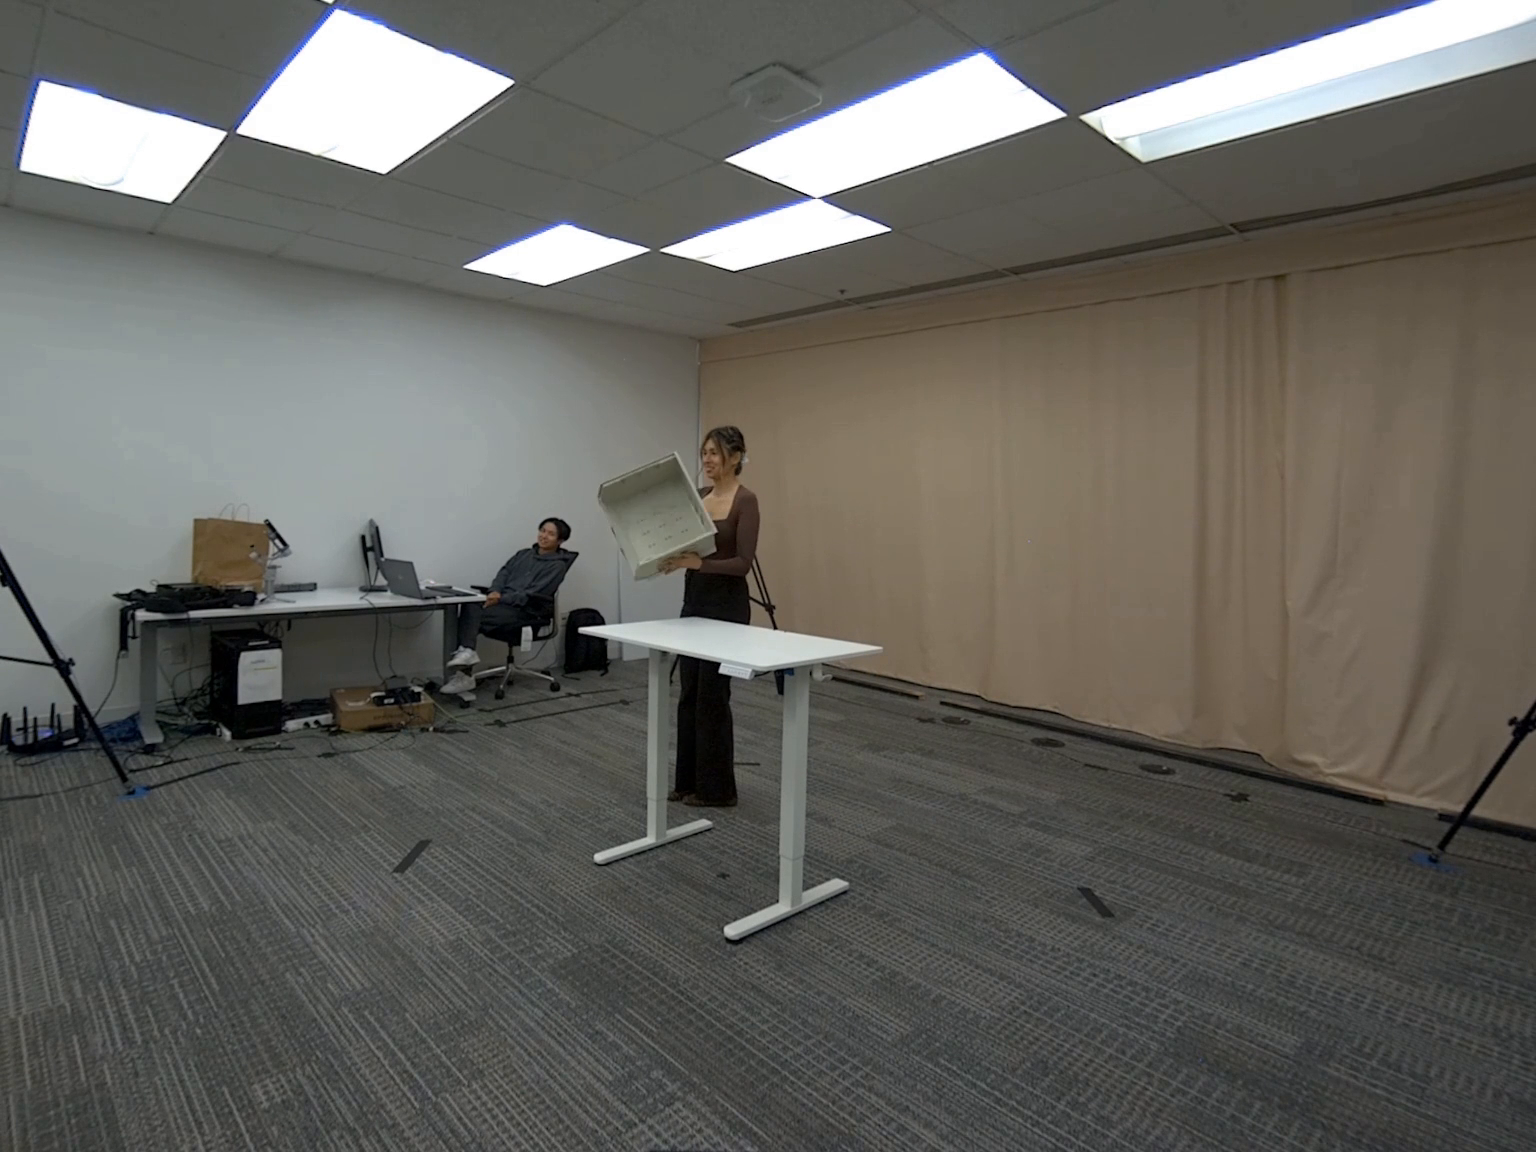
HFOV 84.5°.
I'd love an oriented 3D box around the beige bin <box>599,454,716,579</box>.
[{"bbox_3d":[-0.473,-0.235,3.503,0.376,0.432,0.185,-24,-25,-9],"label":"beige bin"}]
